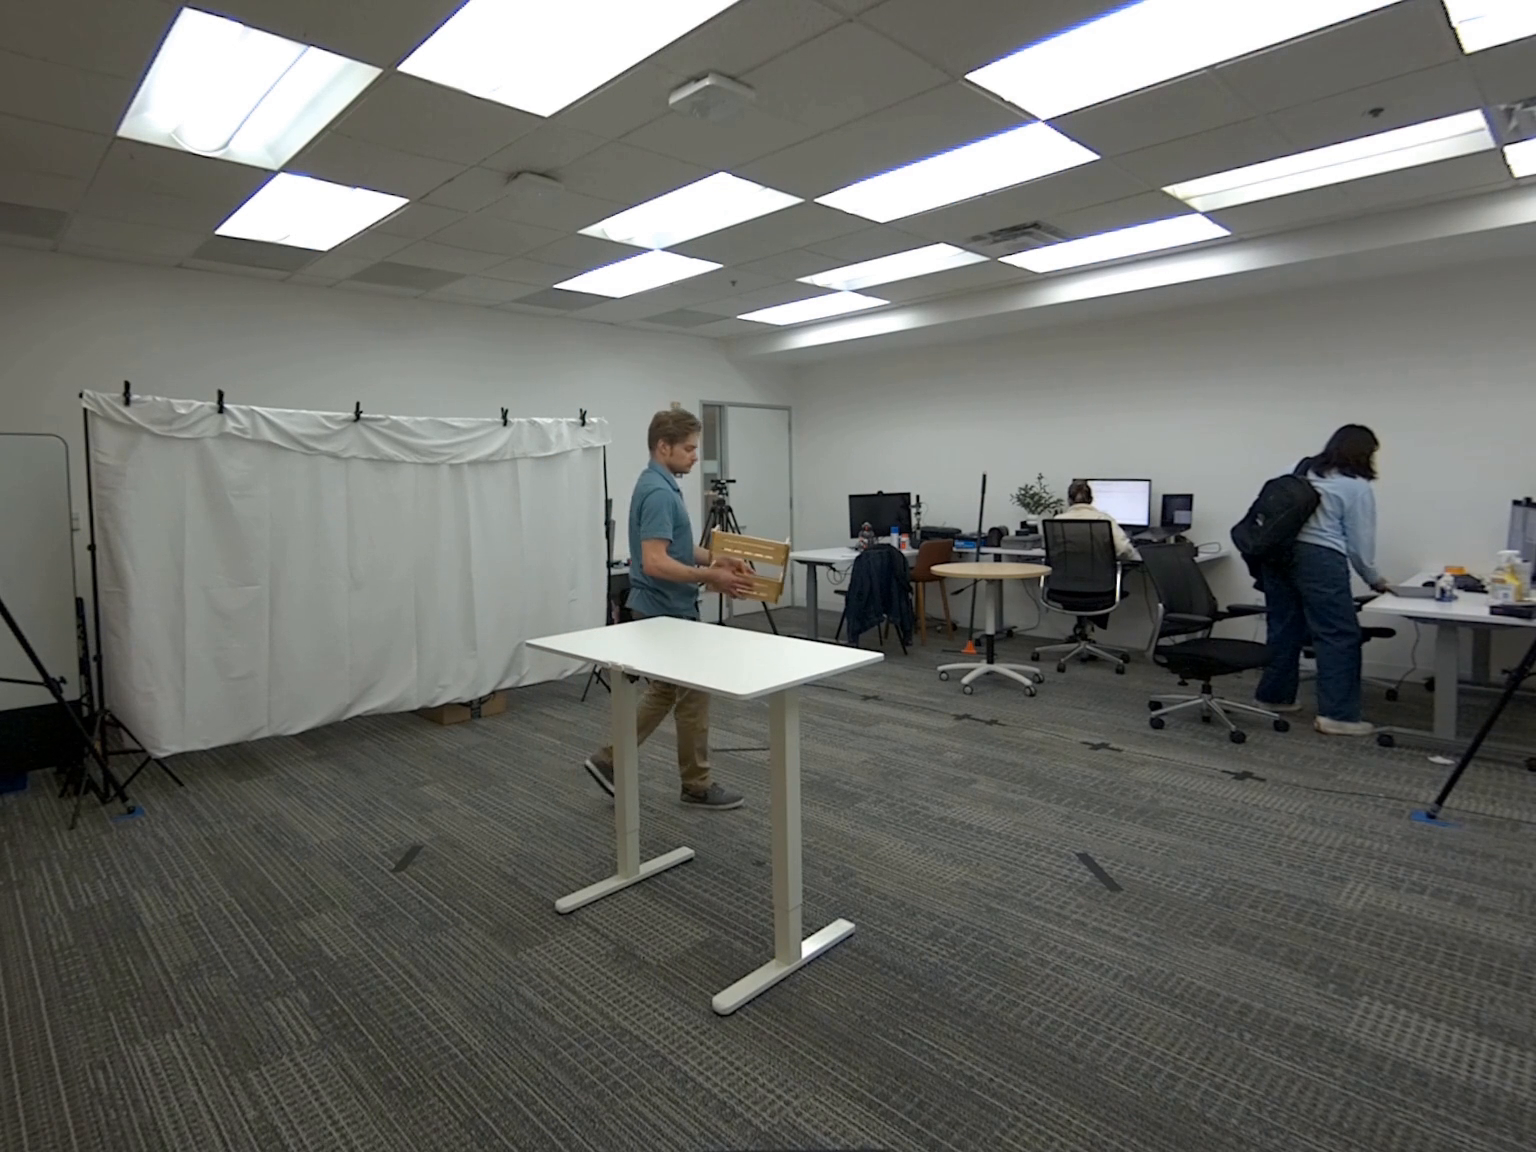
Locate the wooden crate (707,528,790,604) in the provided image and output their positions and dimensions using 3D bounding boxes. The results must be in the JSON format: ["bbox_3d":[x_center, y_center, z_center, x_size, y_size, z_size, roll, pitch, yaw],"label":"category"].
[{"bbox_3d":[-0.083,-0.063,3.556,0.327,0.271,0.302,10,11,6],"label":"wooden crate"}]
